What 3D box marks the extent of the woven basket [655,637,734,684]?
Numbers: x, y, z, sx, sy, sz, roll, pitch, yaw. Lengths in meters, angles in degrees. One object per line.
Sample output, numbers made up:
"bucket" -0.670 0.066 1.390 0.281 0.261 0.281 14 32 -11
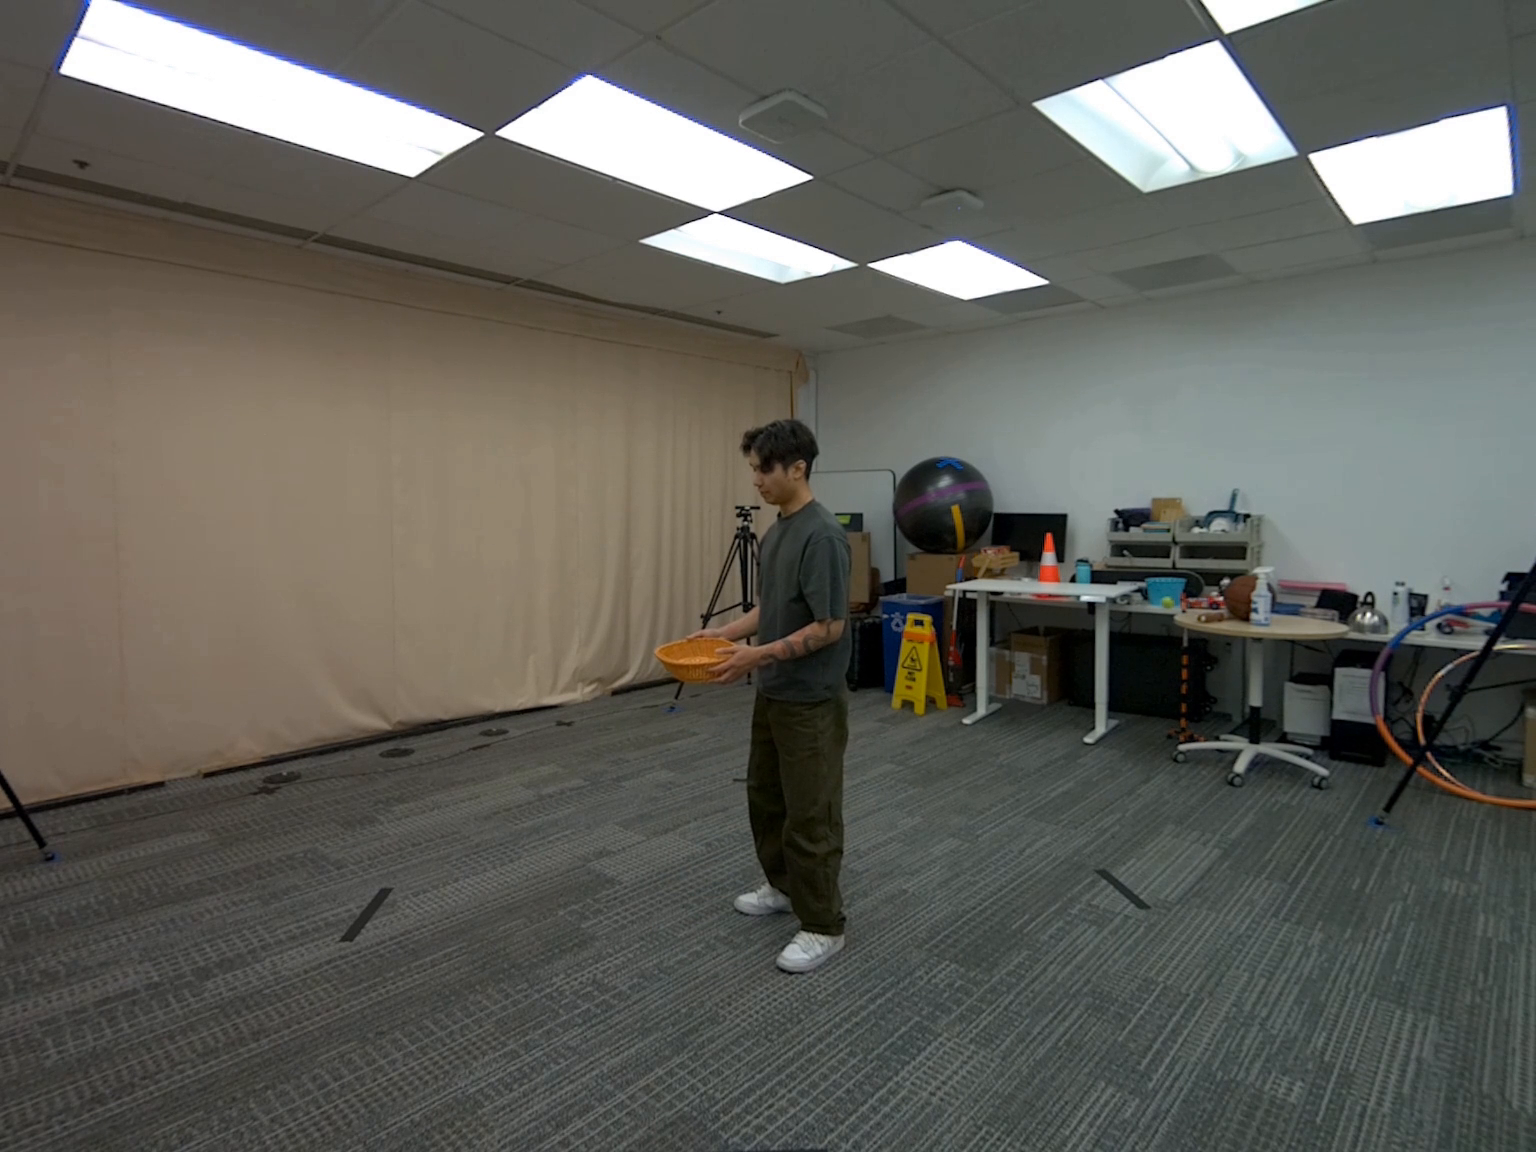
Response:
"woven basket" -0.207 0.269 2.619 0.248 0.073 0.358 -8 8 -19
